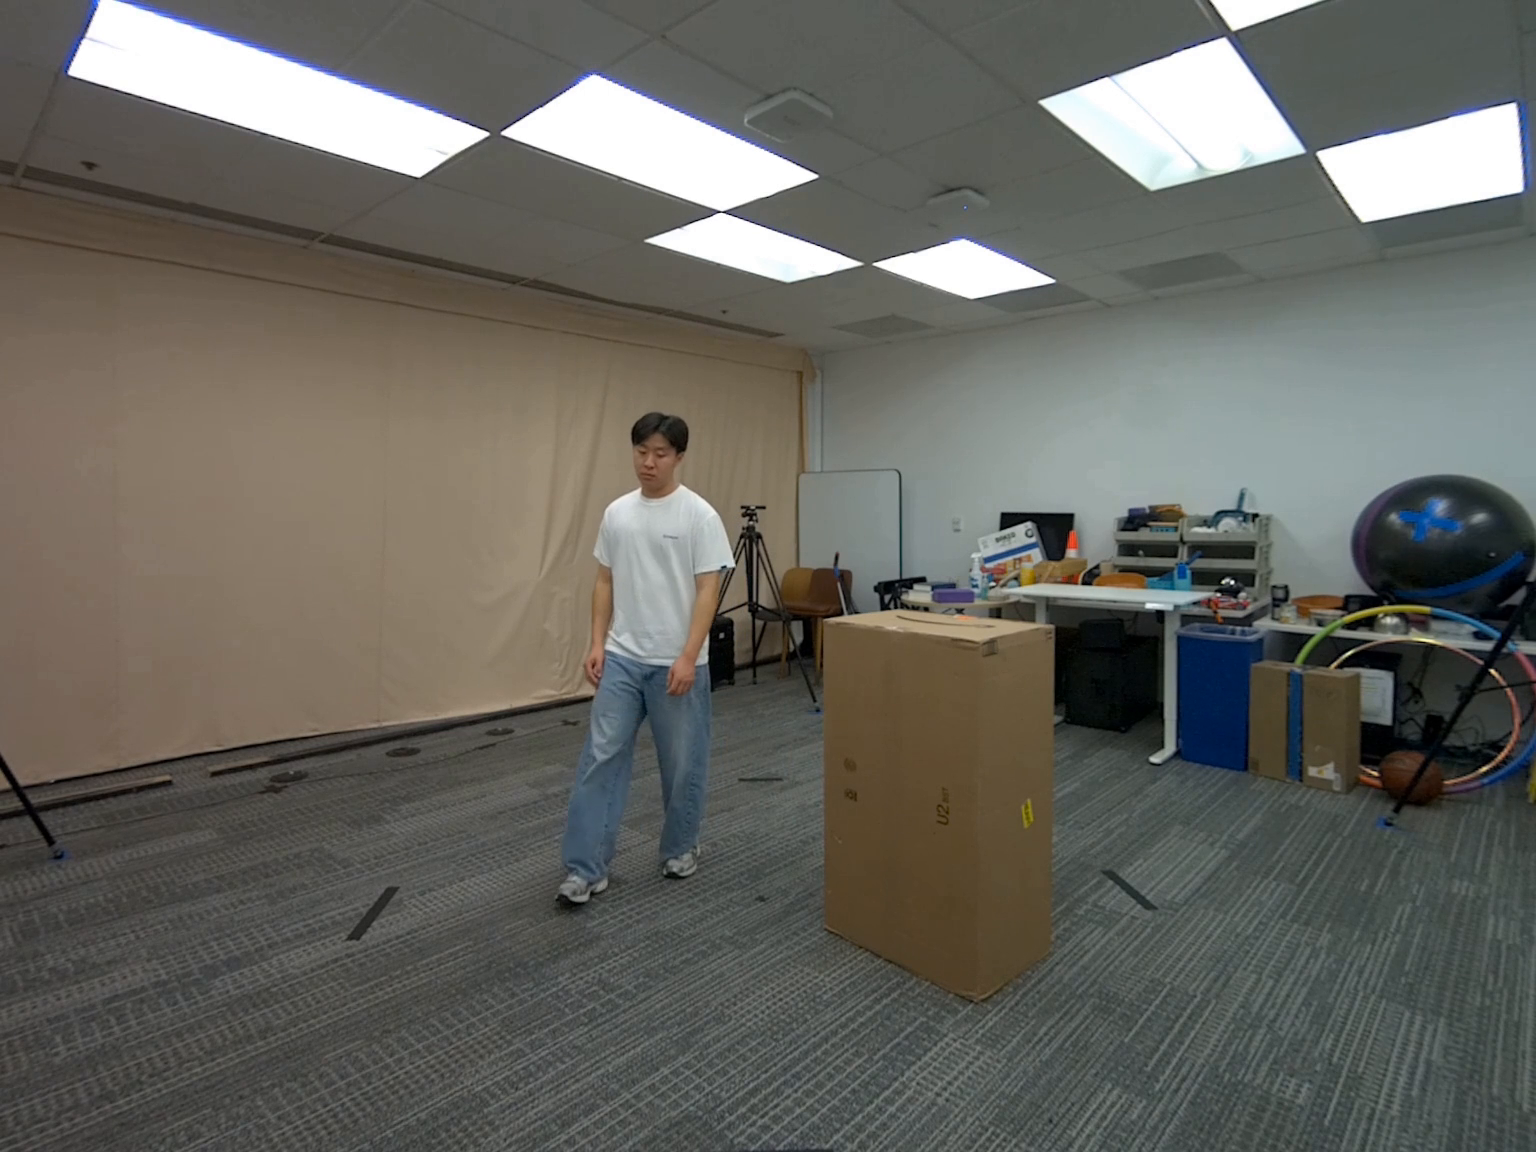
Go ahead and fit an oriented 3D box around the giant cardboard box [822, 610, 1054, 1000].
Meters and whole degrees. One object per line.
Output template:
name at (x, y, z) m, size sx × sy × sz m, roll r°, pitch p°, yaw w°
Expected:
giant cardboard box at (0.538, 0.659, 2.674) m, size 0.413 × 1.024 × 0.597 m, roll -3°, pitch 4°, yaw -43°
